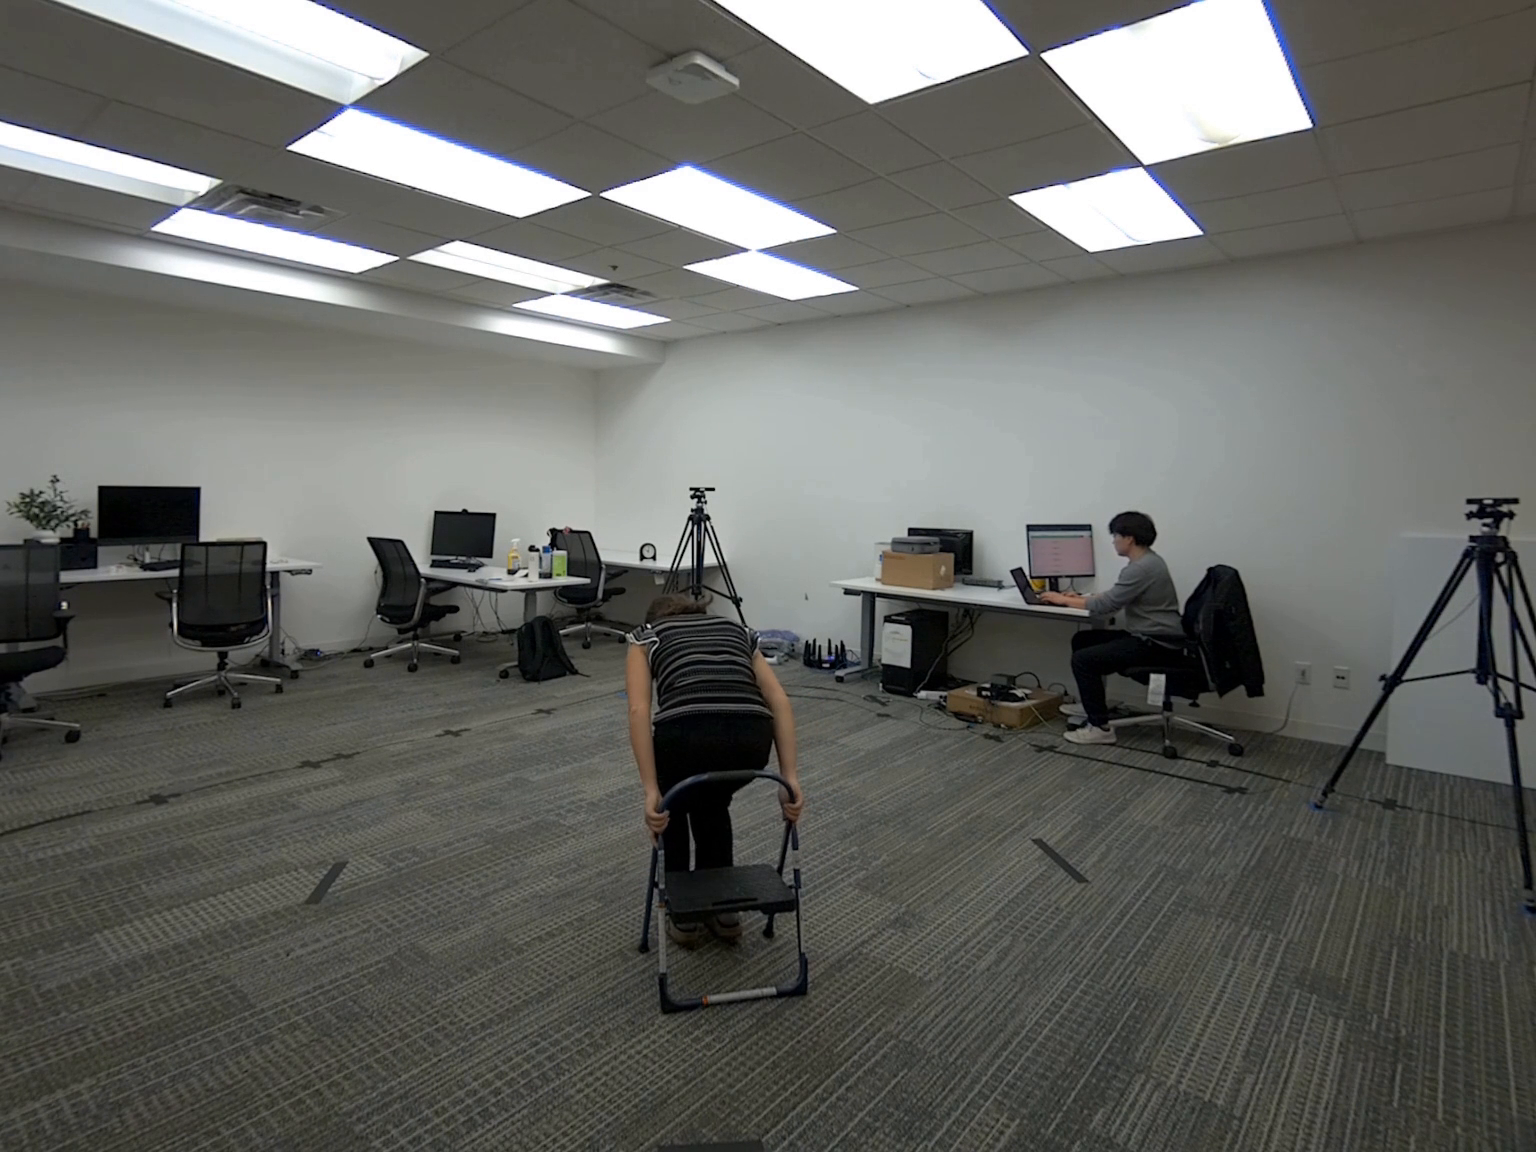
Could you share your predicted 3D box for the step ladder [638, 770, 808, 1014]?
[{"bbox_3d":[-0.139,0.834,2.441,0.423,0.604,0.356,0,3,-17],"label":"step ladder"}]
